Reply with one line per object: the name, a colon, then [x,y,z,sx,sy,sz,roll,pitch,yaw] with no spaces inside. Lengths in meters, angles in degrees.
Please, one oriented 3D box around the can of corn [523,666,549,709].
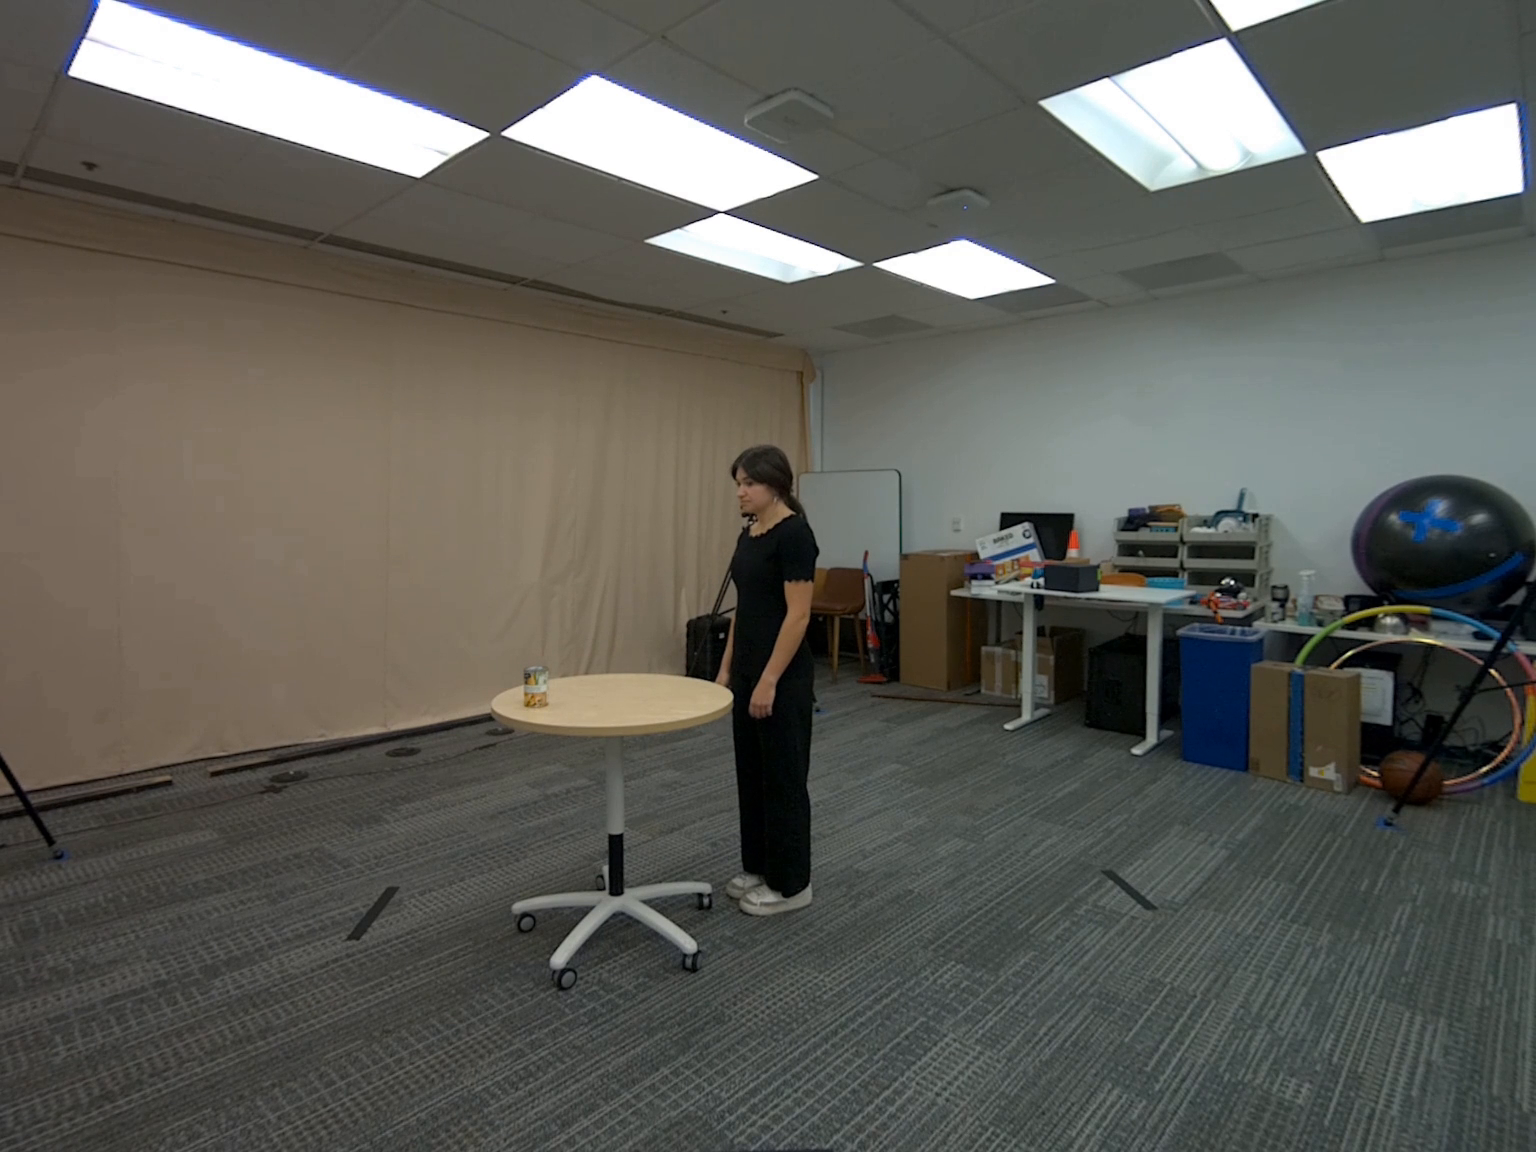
can of corn: [-0.716,0.345,2.577,0.074,0.111,0.074,-5,3,-2]
